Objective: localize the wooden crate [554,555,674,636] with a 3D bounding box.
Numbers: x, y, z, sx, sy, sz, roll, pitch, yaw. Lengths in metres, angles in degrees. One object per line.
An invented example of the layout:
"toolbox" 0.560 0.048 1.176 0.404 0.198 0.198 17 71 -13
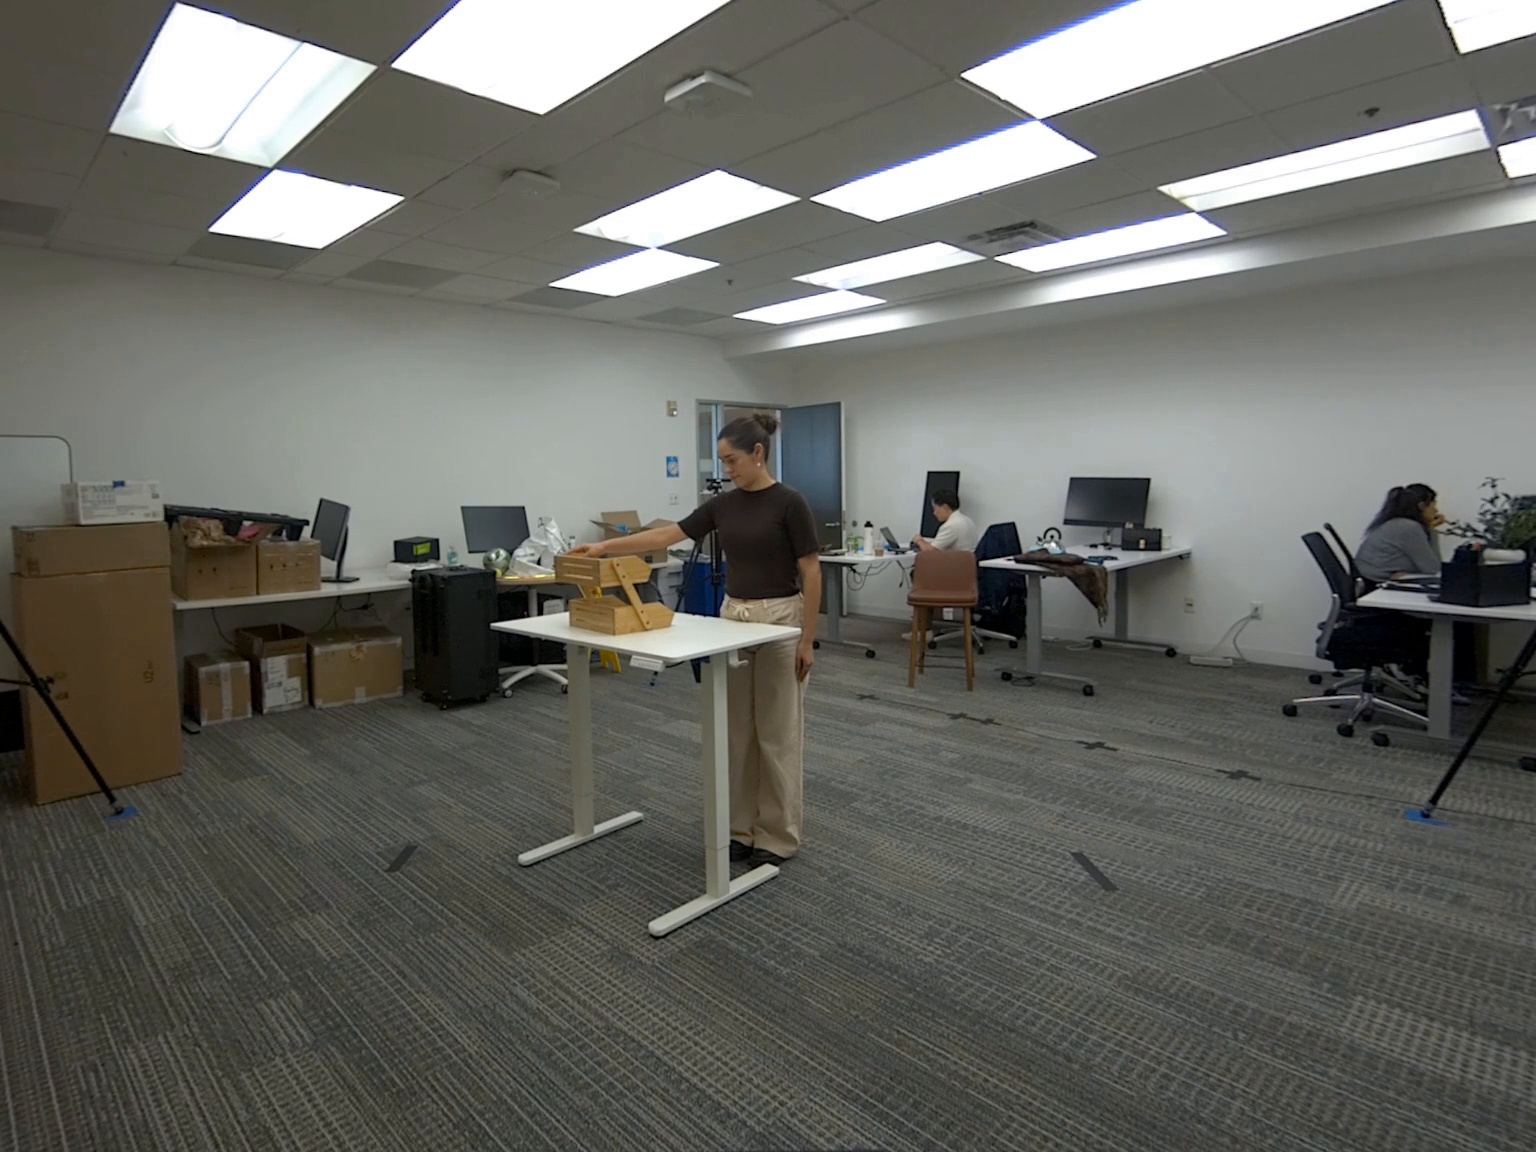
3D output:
"wooden crate" -0.545 0.049 3.016 0.294 0.272 0.334 -7 8 -42
